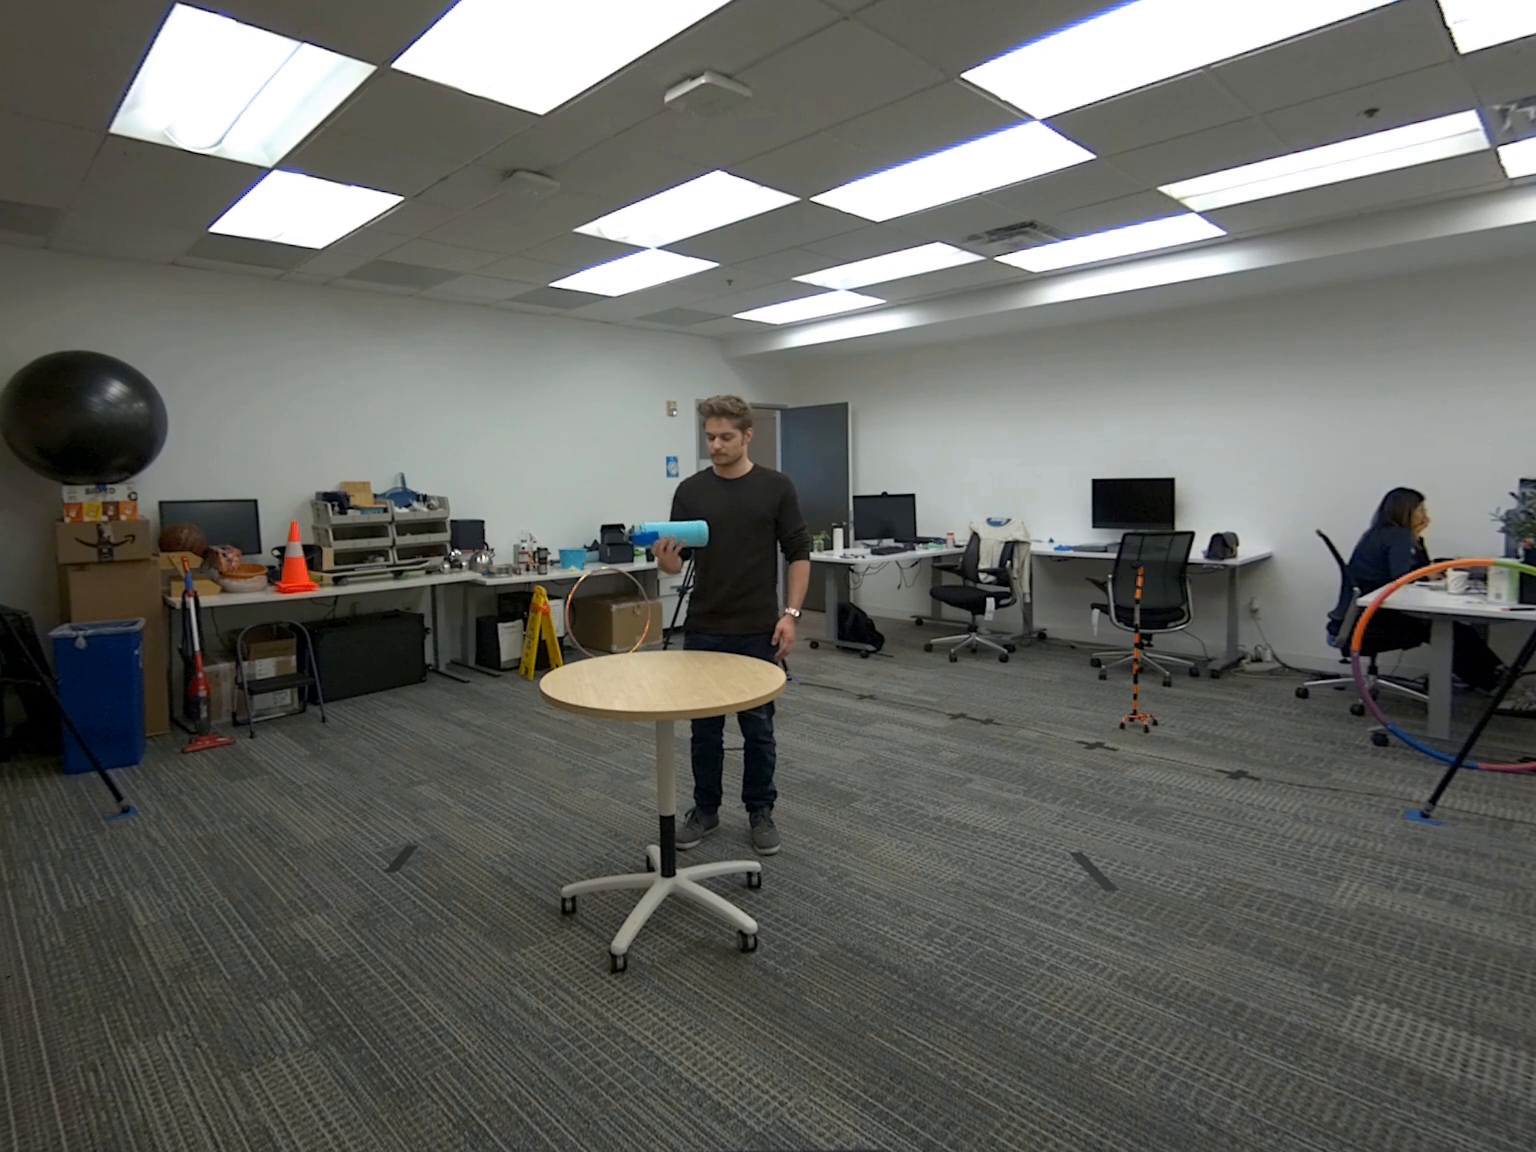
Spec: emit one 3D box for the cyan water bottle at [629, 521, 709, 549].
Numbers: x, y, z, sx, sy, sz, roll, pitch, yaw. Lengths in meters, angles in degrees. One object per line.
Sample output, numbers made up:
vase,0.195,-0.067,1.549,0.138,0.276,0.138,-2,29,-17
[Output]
cyan water bottle,-0.350,-0.141,2.946,0.279,0.092,0.094,-2,5,-16
